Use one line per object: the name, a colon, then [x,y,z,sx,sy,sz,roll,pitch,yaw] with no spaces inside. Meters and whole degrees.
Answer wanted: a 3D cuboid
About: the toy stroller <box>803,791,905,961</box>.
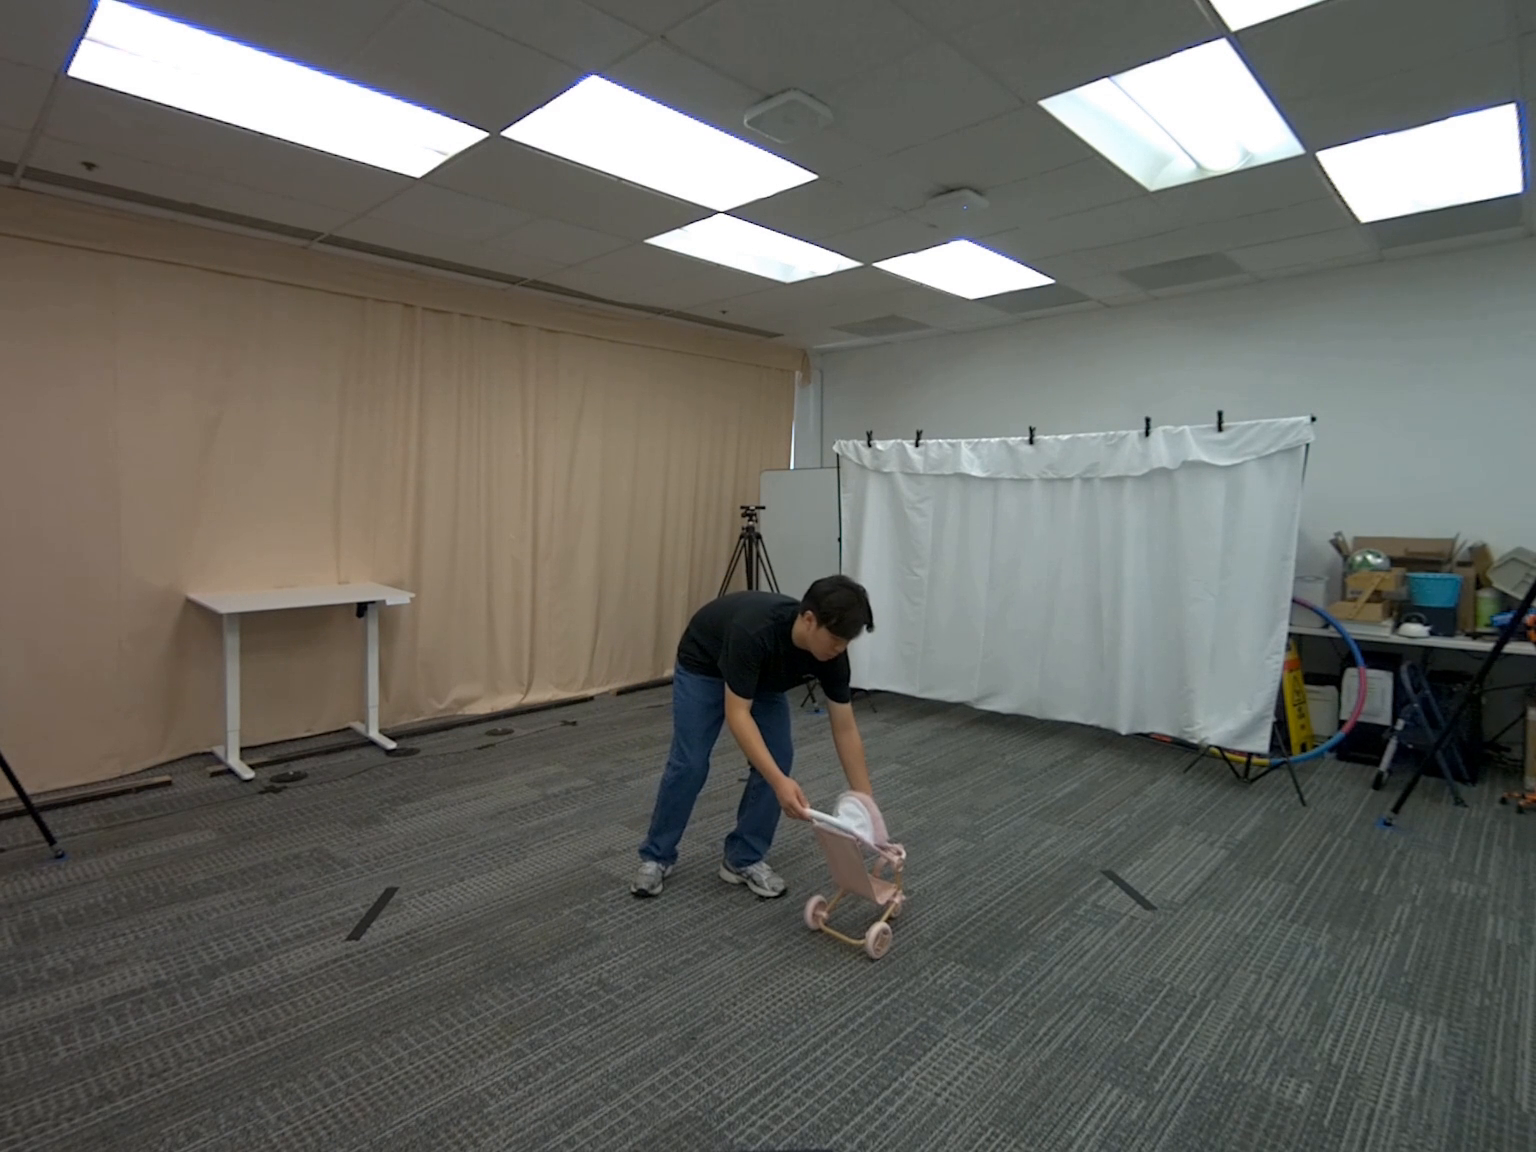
toy stroller: [0.301,0.932,2.713,0.333,0.531,0.290,-18,13,-39]
